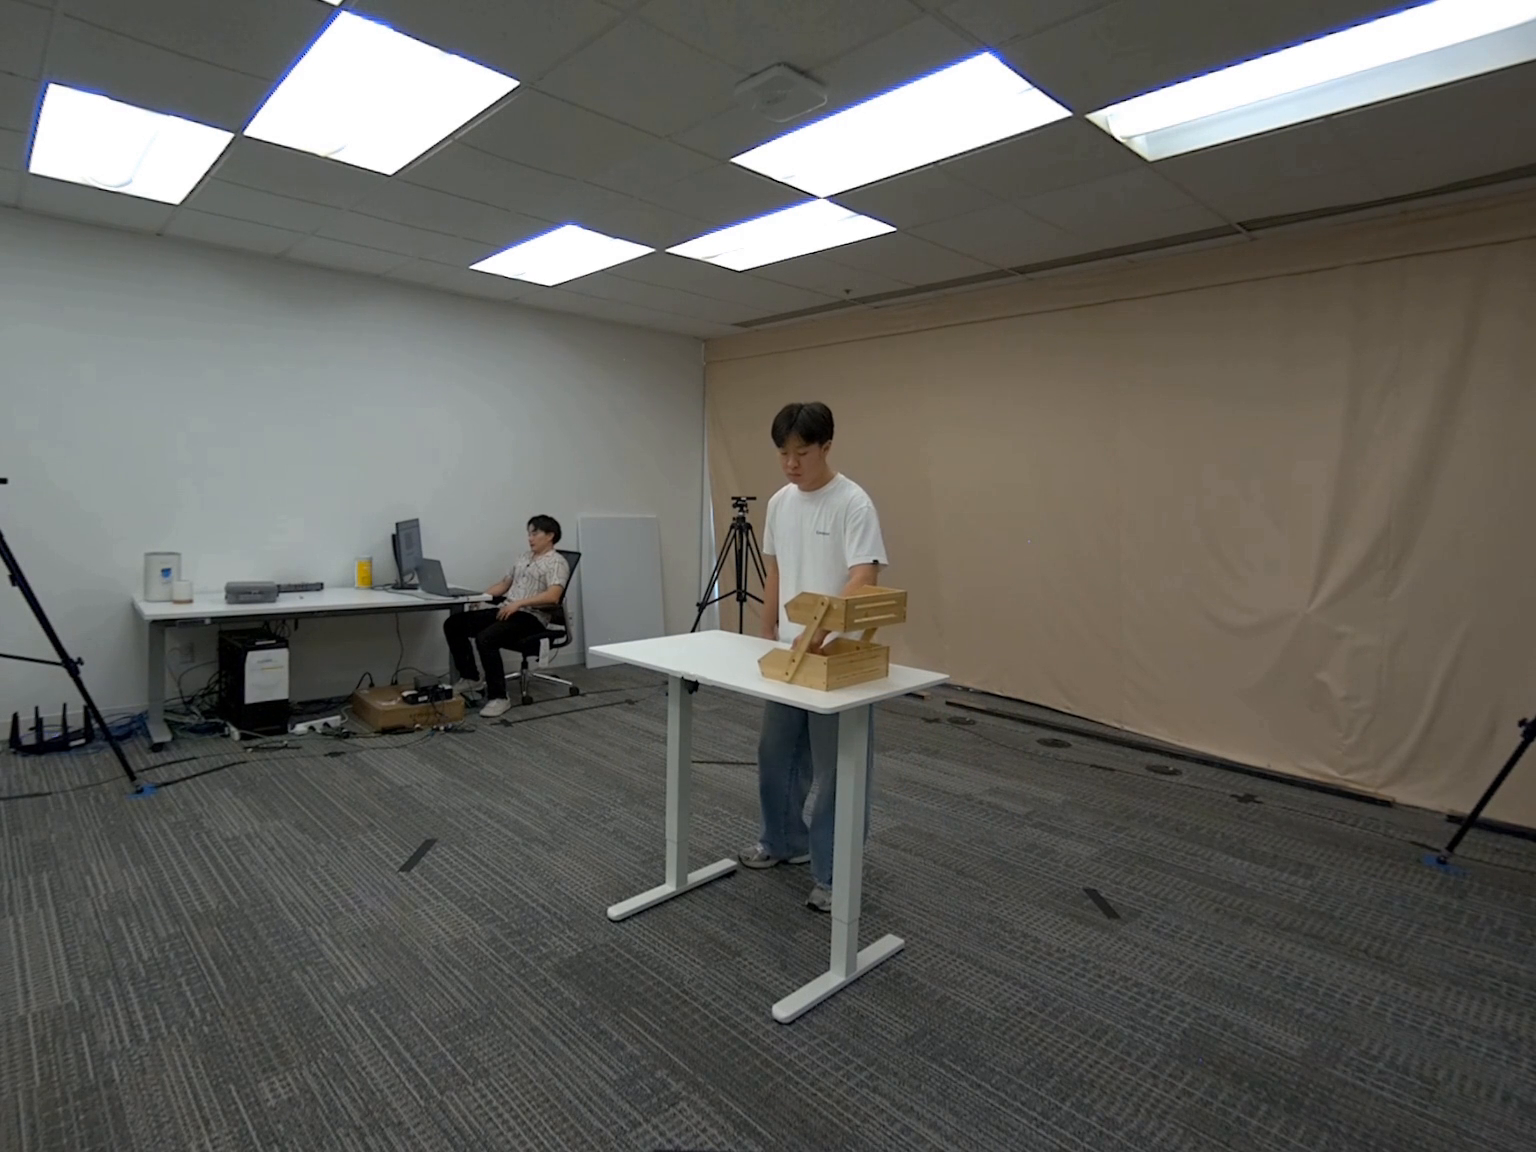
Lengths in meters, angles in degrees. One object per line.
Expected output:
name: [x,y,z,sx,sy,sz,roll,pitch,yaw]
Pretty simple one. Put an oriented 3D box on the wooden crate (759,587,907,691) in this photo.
wooden crate: [0.176,0.164,2.425,0.310,0.272,0.317,7,7,42]
